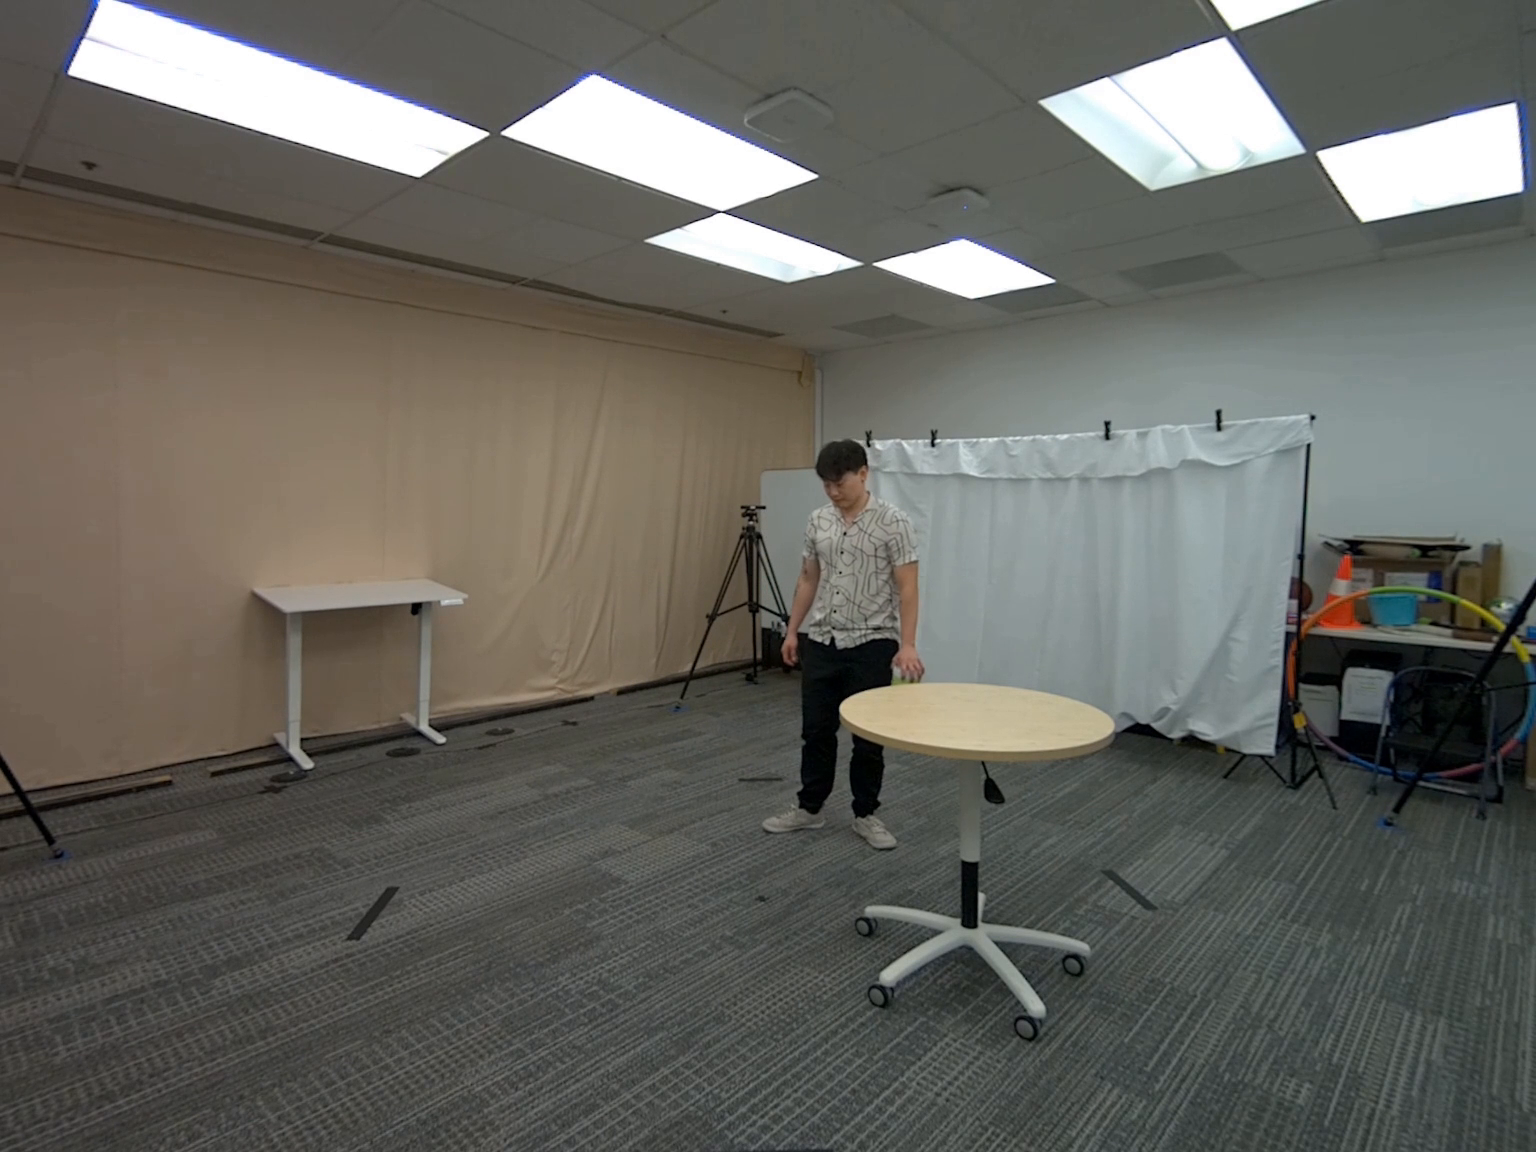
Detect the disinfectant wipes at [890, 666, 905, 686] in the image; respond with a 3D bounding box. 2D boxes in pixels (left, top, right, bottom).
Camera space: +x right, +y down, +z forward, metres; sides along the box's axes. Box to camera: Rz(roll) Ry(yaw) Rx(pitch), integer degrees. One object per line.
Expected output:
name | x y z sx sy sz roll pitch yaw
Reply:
disinfectant wipes | 0.543 0.459 3.275 0.118 0.216 0.118 -1 10 -2
